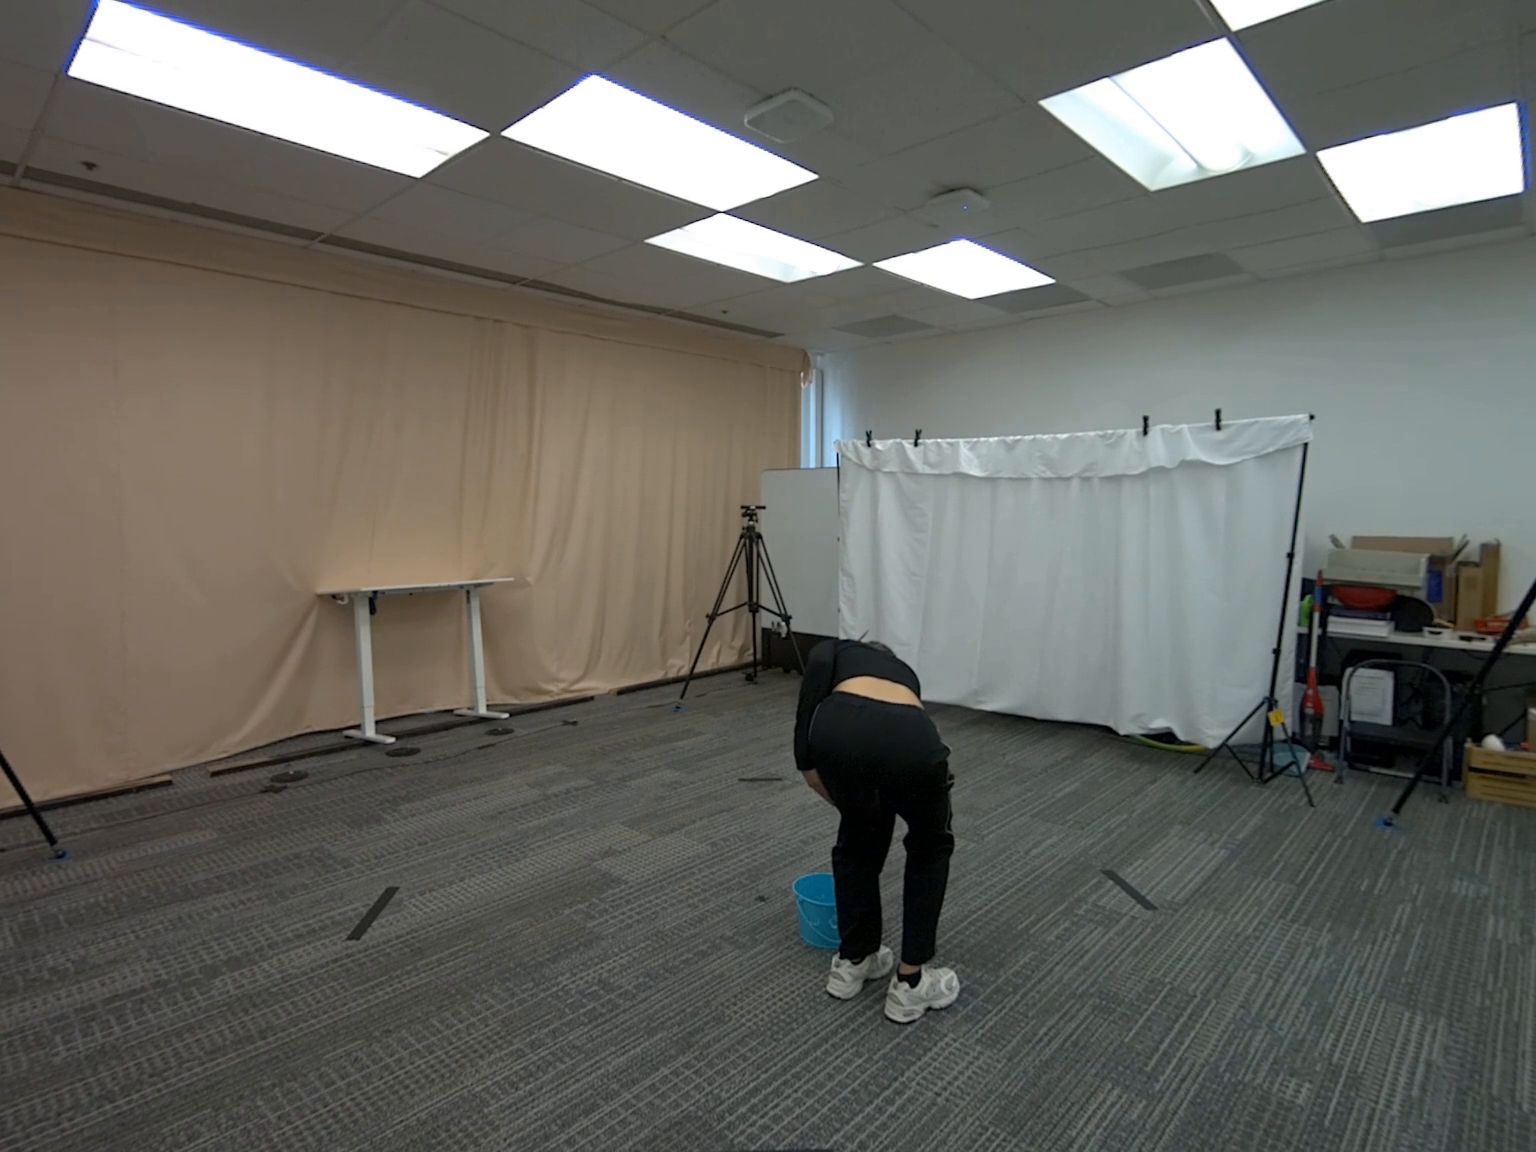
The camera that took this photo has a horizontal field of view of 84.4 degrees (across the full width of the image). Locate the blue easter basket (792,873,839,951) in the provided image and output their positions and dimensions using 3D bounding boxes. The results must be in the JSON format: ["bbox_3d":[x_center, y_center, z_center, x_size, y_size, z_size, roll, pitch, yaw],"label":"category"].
[{"bbox_3d":[0.200,1.086,2.724,0.243,0.155,0.244,1,4,-2],"label":"blue easter basket"}]
